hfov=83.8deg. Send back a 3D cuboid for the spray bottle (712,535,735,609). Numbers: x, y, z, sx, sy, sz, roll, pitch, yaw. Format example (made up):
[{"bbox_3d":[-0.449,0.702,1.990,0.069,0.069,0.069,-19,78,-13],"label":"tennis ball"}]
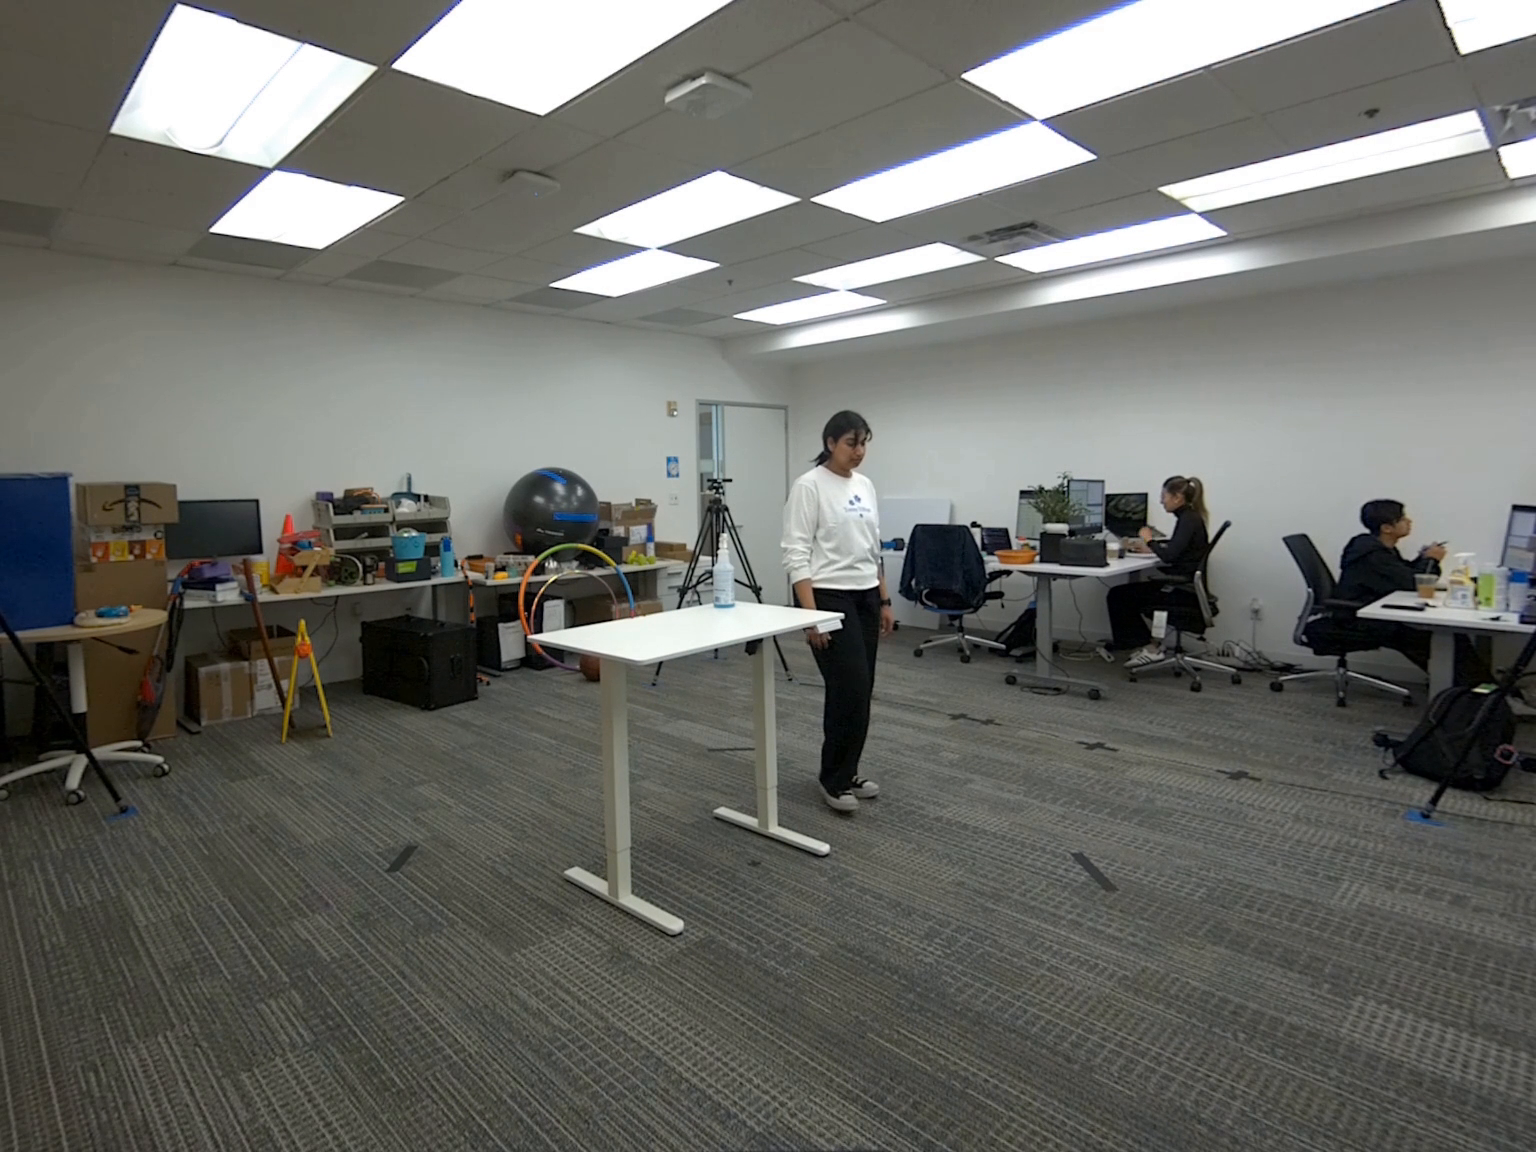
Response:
[{"bbox_3d":[-0.182,-0.022,3.435,0.088,0.296,0.089,1,4,15],"label":"spray bottle"}]
